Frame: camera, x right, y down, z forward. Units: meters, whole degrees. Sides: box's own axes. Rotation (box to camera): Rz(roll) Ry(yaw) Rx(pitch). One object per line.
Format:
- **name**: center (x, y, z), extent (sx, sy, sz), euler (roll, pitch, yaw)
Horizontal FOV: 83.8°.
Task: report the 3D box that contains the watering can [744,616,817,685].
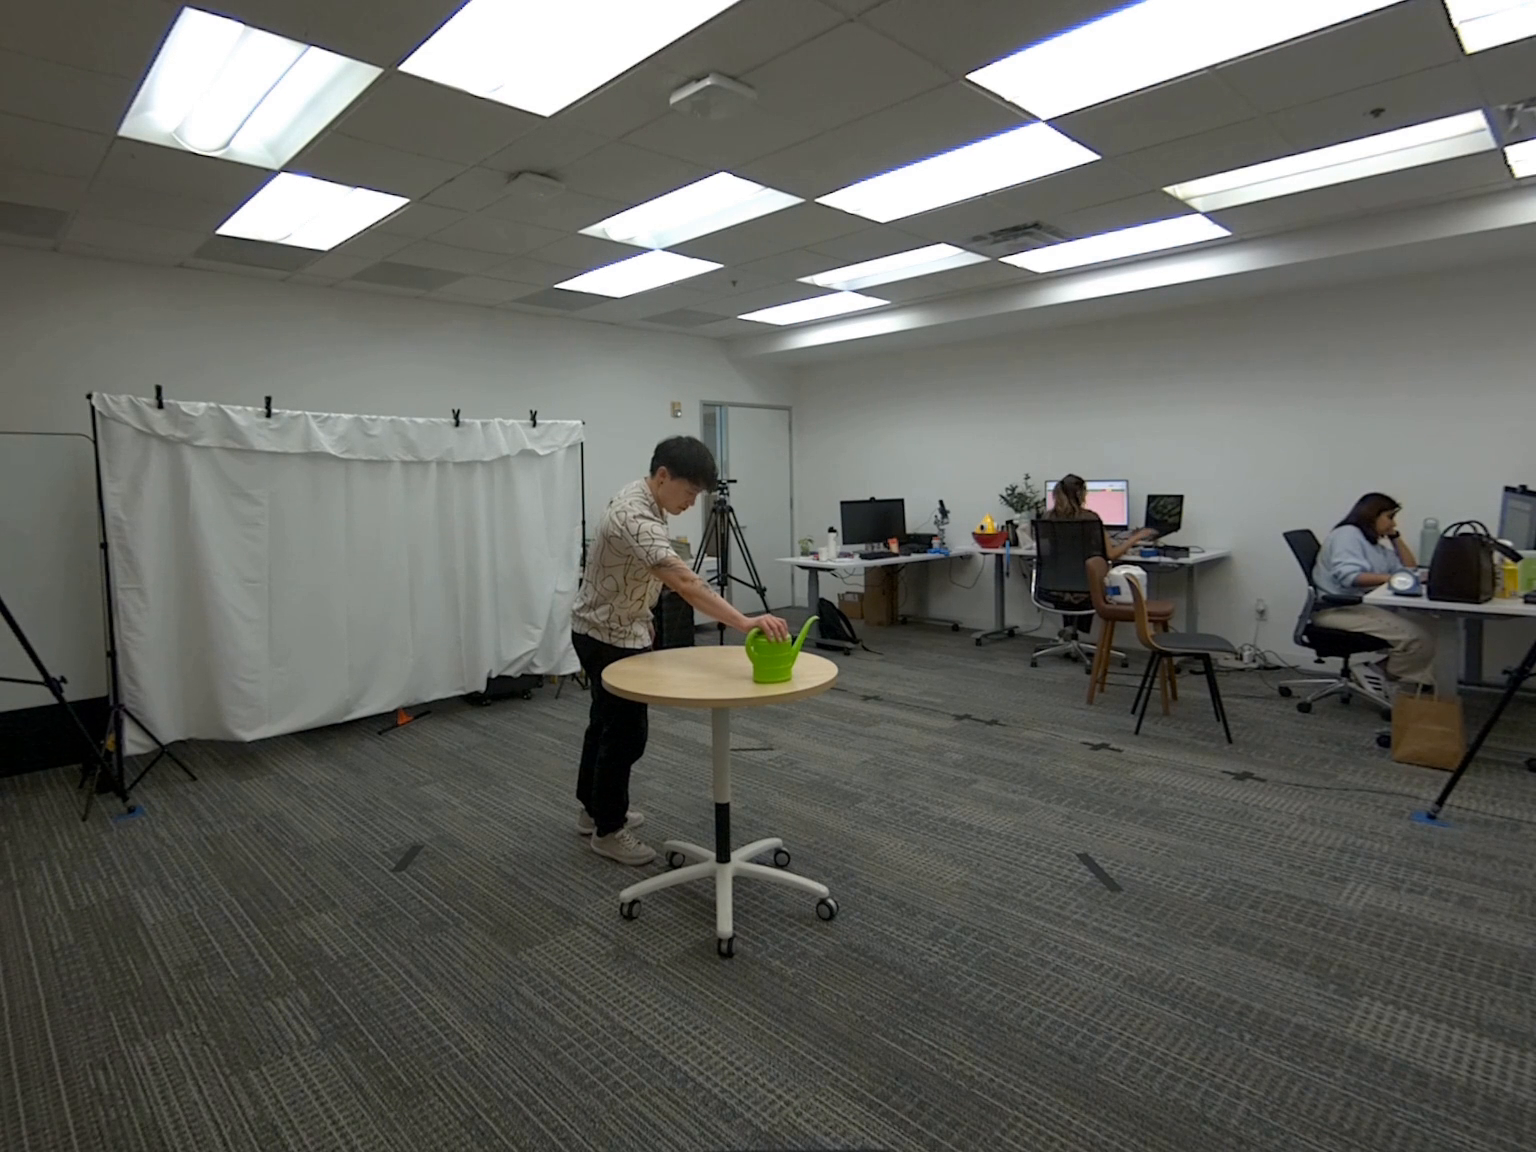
- **watering can**: center (0.053, 0.229, 2.631), extent (0.274, 0.176, 0.100), euler (-6, 5, -18)
